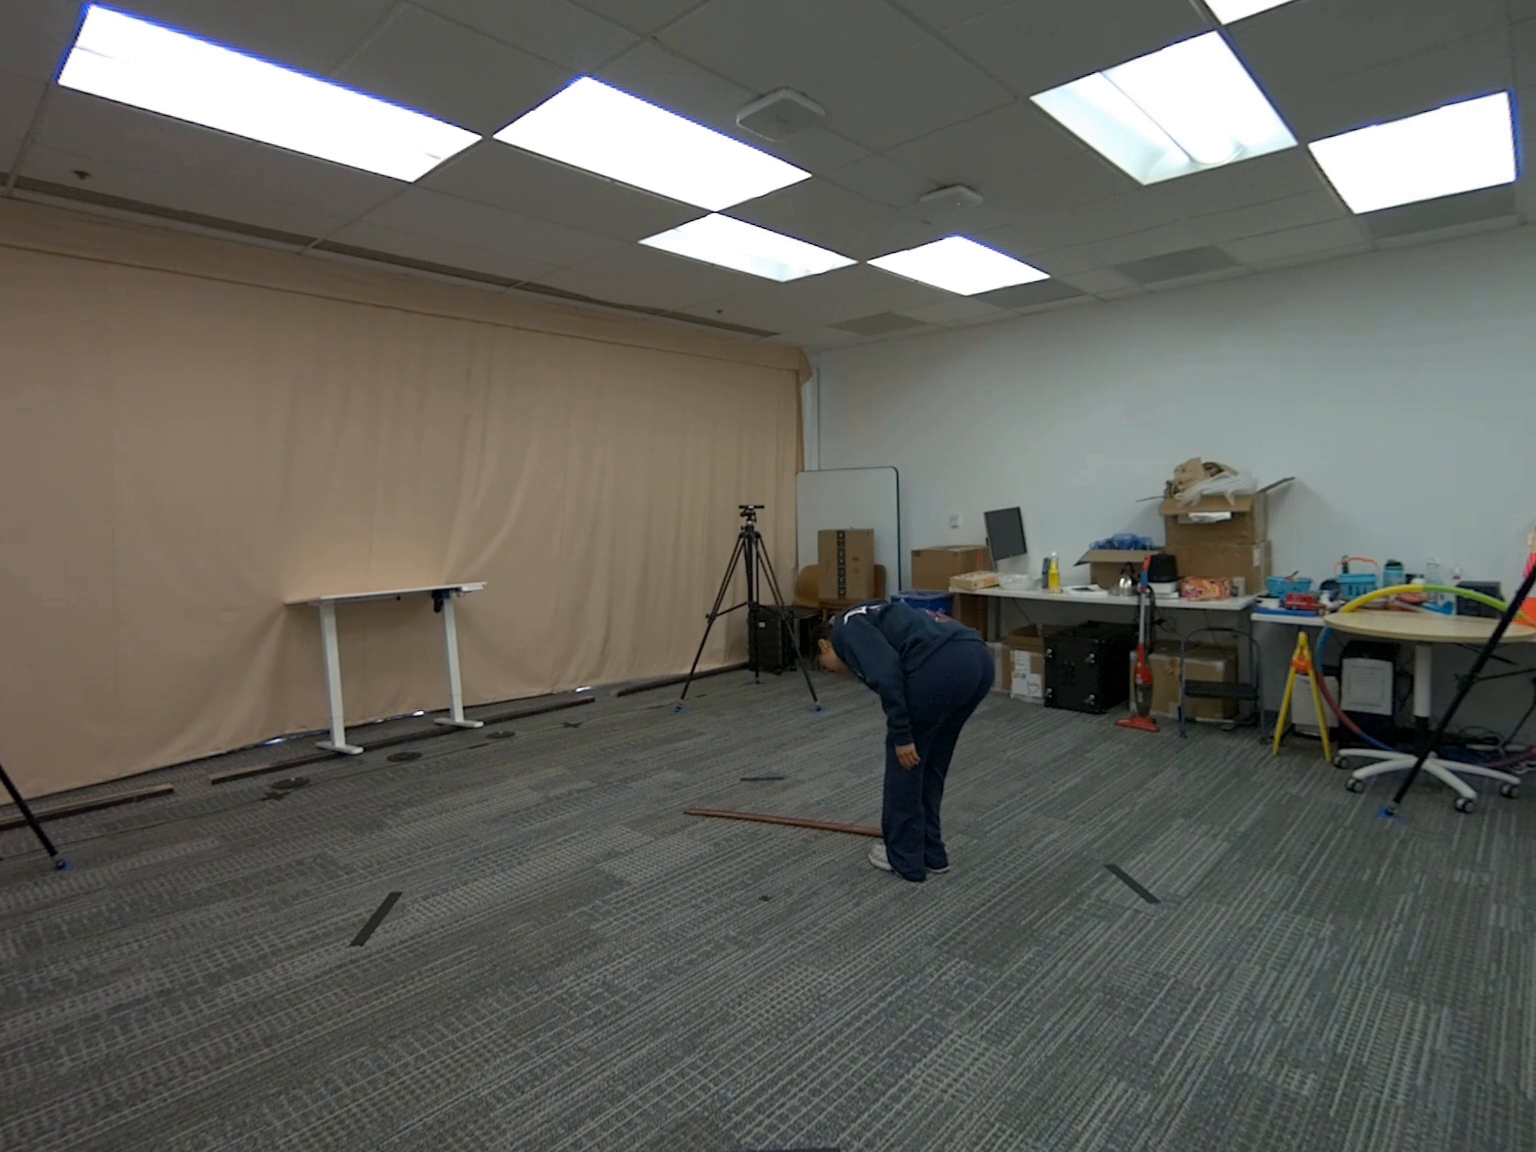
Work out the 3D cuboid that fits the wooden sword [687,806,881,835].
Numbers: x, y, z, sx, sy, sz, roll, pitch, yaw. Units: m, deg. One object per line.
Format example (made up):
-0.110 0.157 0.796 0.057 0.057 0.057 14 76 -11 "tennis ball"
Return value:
0.136 1.053 3.636 1.046 0.024 0.050 0 -5 20 "wooden sword"
